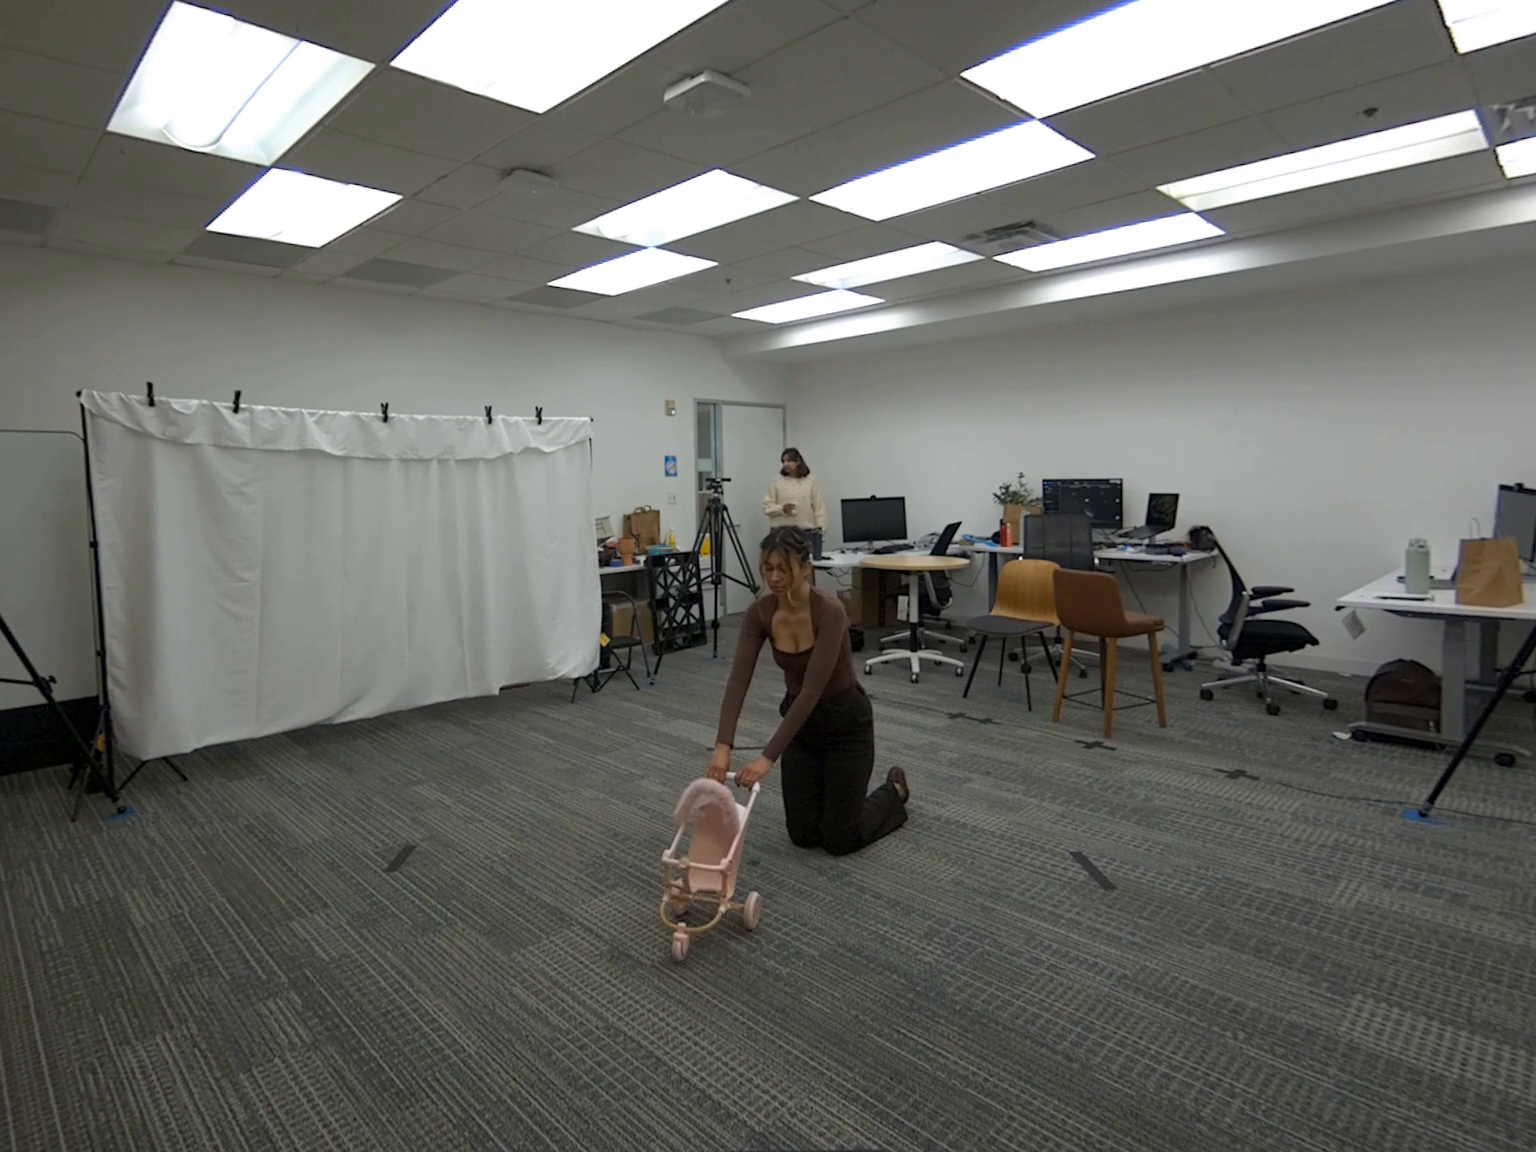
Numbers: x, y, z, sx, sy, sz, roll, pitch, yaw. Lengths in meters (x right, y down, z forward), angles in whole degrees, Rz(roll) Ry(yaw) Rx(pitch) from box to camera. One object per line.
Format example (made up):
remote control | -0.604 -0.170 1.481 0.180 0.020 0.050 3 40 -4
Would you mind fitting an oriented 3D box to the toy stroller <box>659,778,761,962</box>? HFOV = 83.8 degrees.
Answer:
toy stroller | -0.189 0.876 2.645 0.288 0.540 0.330 0 -13 27
